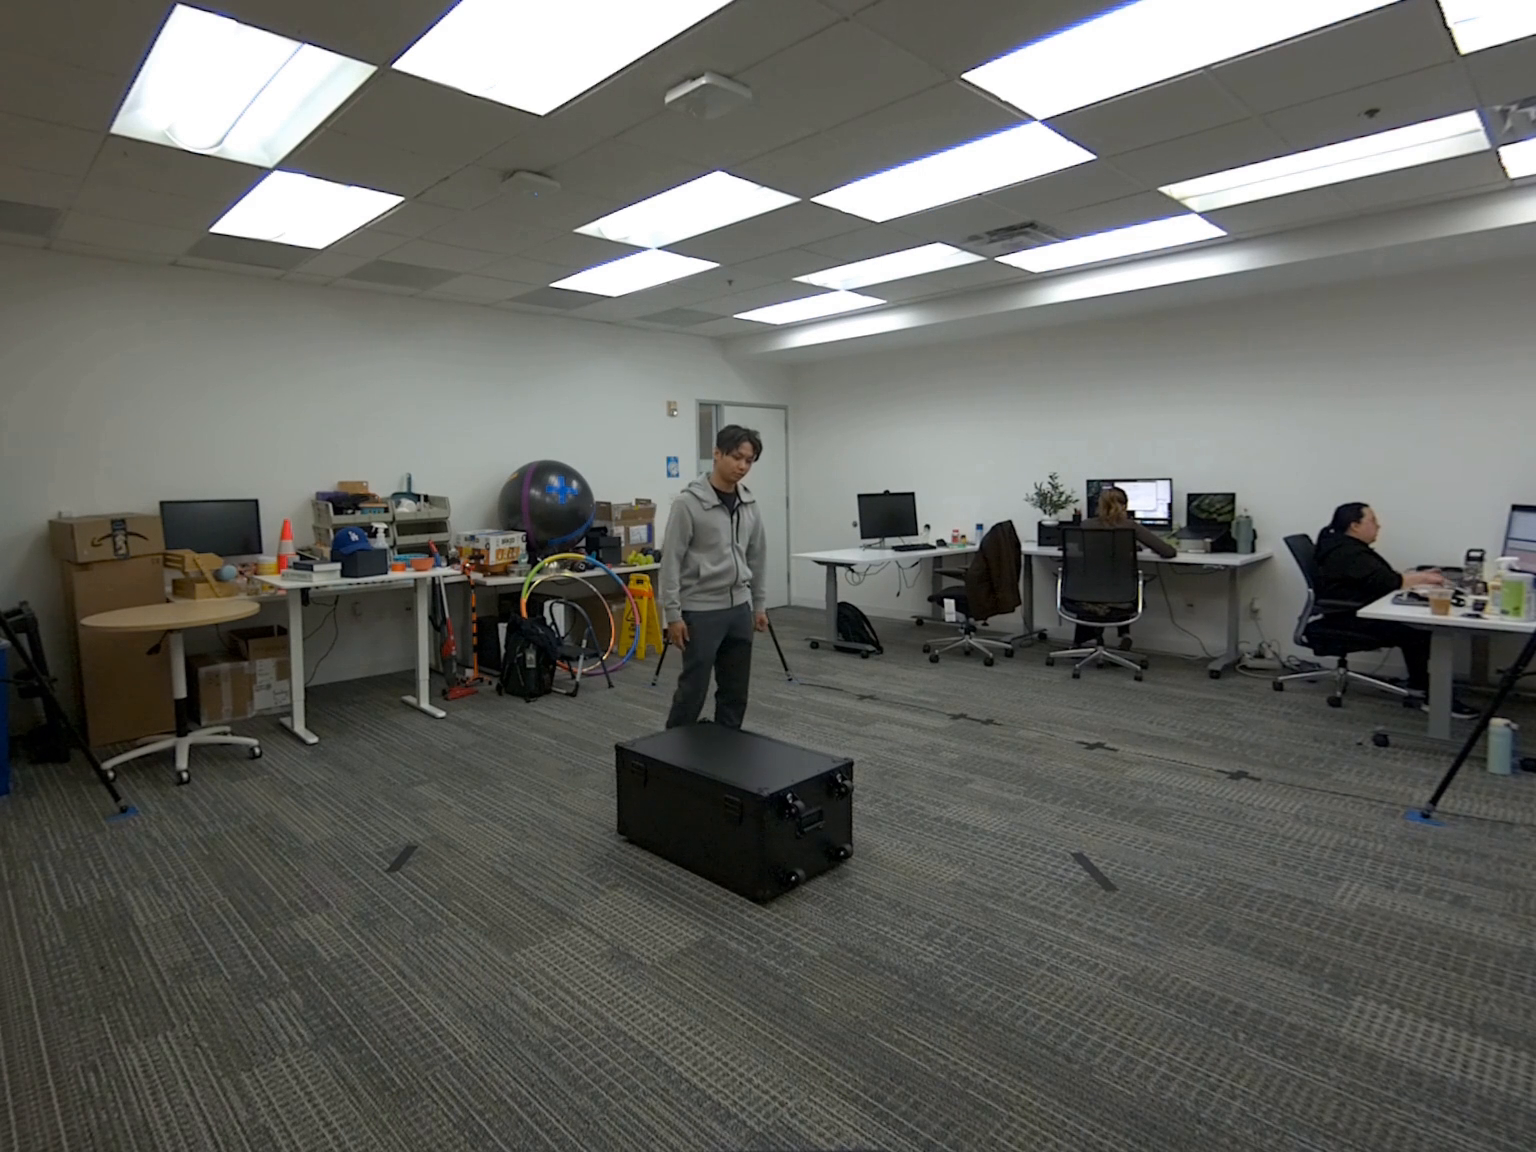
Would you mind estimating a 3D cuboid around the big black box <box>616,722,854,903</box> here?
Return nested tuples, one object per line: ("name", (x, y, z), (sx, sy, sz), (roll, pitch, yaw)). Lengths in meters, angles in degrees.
("big black box", (-0.119, 0.847, 3.186), (0.888, 0.395, 0.508), (4, 7, 43))
